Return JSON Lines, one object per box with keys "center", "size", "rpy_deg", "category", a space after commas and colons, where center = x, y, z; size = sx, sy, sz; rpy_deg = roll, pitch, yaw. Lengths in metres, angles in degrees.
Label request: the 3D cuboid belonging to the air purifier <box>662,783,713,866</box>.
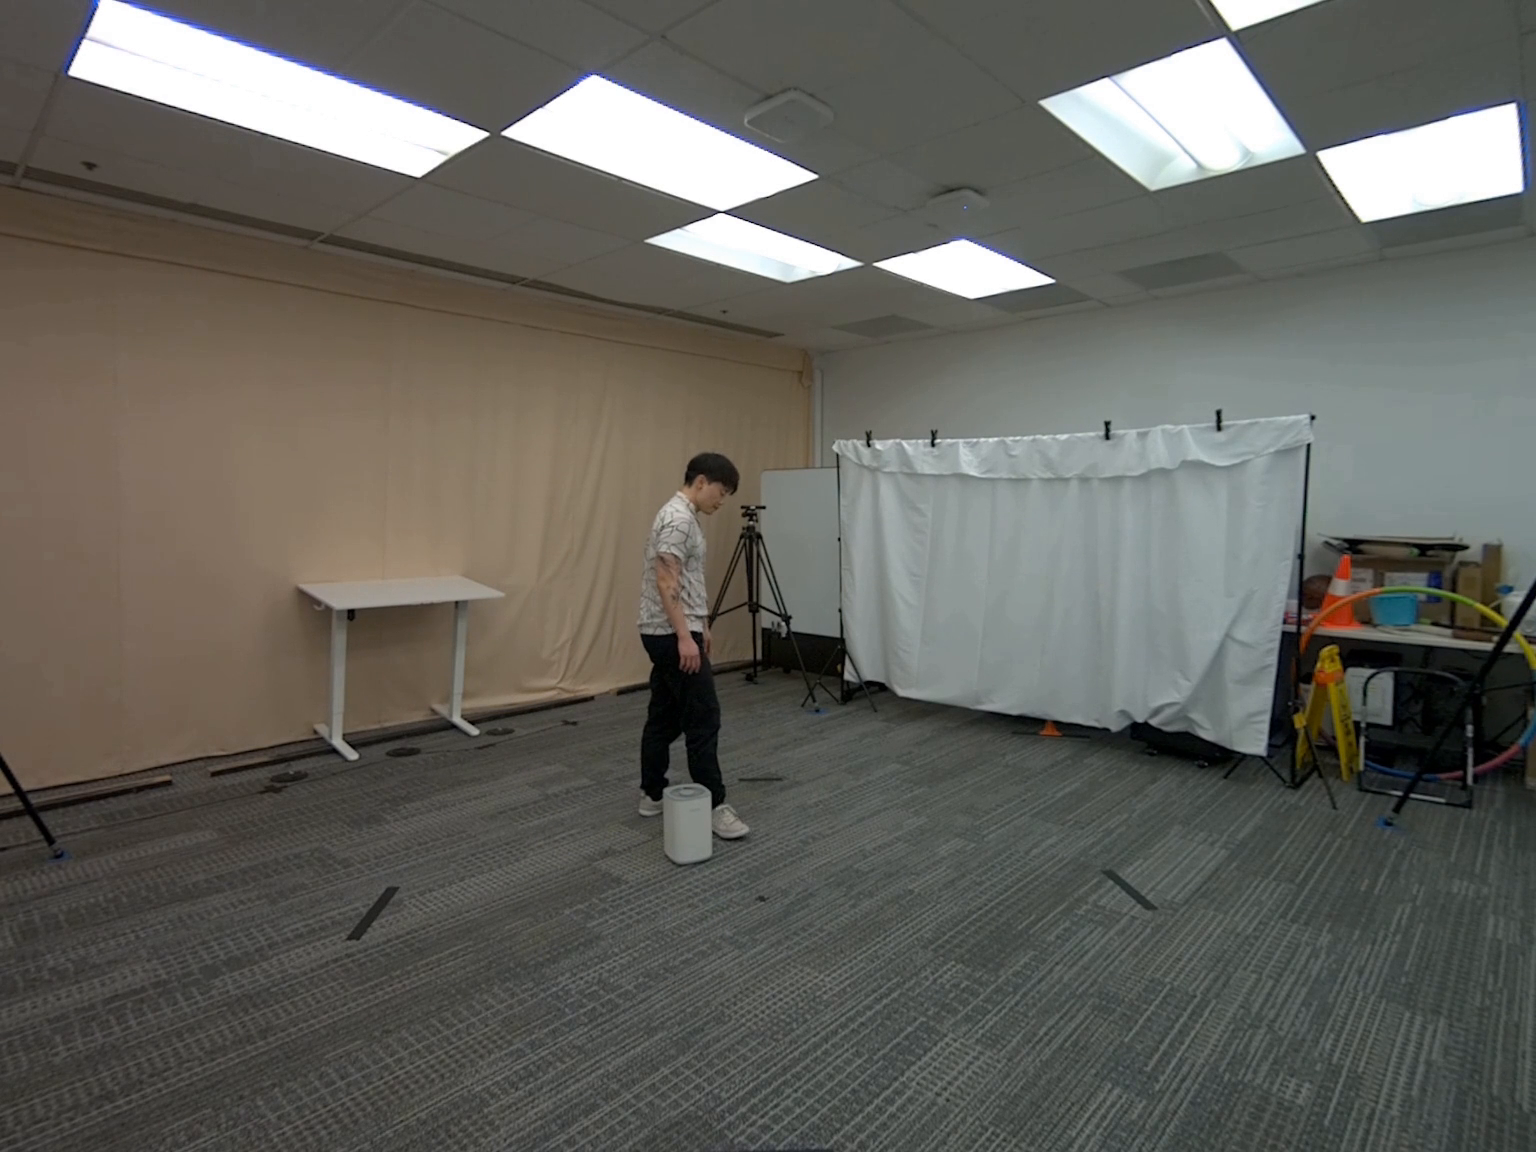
{"center": [-0.323, 0.978, 3.346], "size": [0.167, 0.265, 0.176], "rpy_deg": [-3, 4, -29], "category": "air purifier"}
